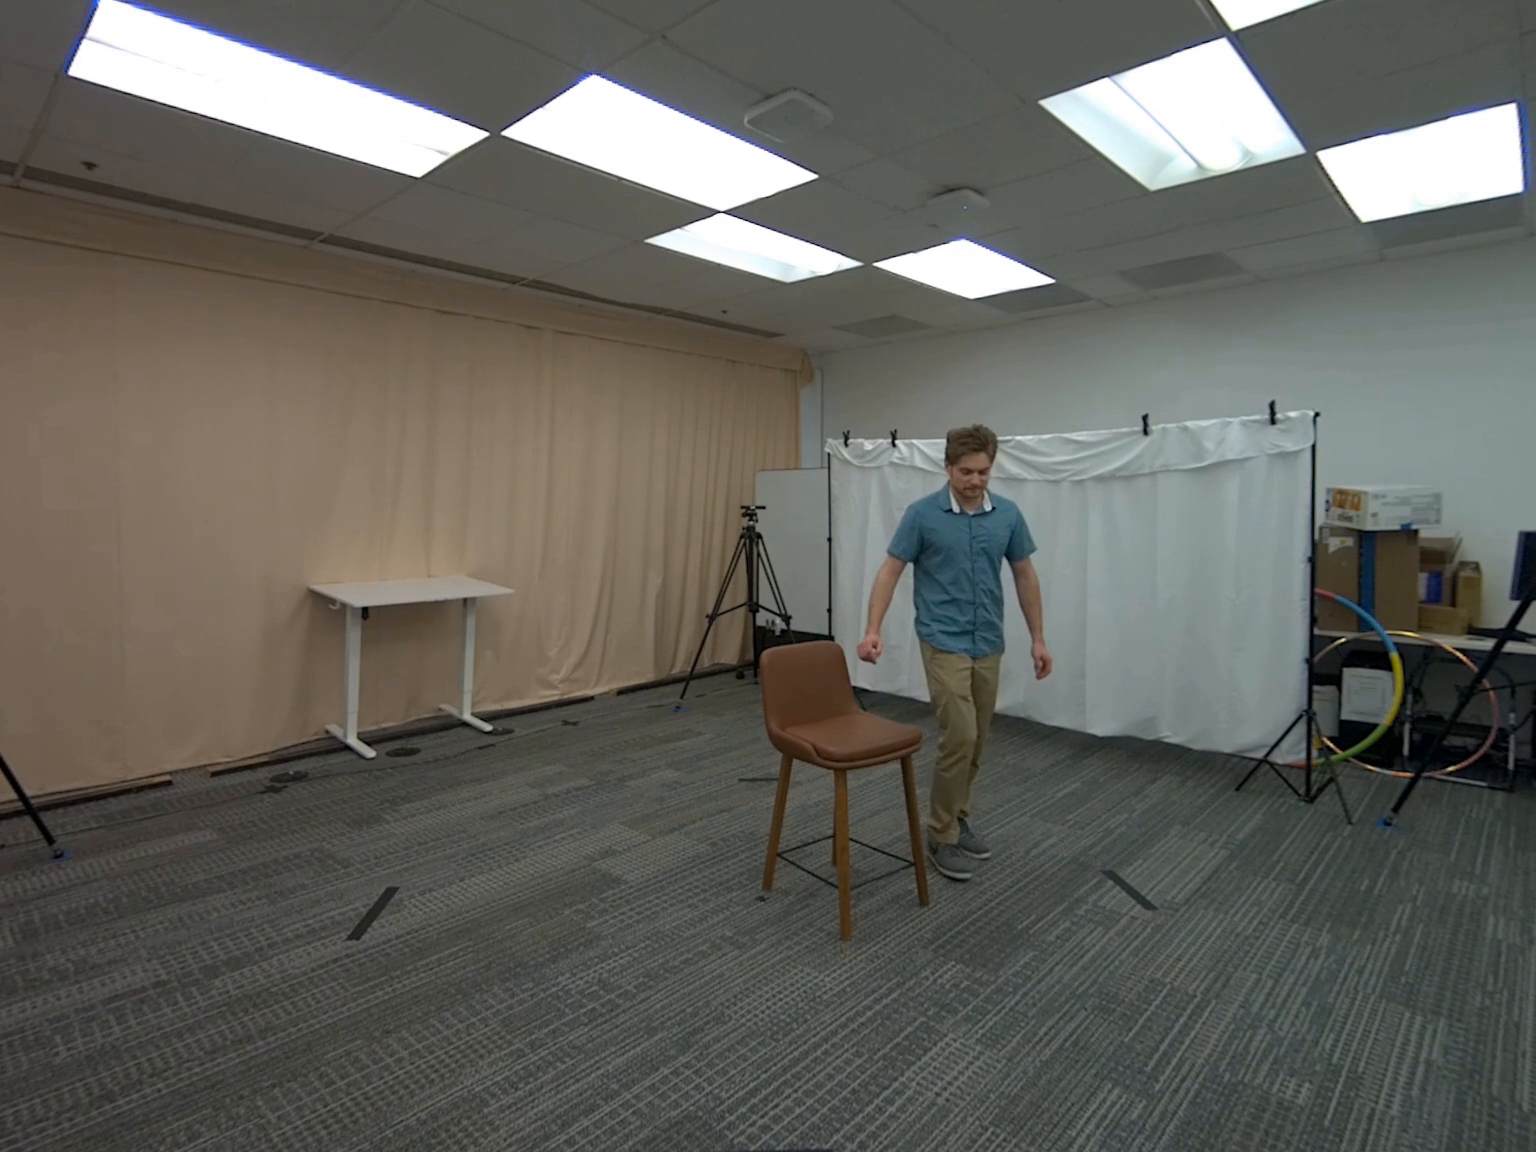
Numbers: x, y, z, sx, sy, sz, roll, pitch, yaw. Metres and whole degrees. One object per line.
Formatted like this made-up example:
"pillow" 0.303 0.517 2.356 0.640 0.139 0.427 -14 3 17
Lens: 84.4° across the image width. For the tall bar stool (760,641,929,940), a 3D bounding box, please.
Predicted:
"tall bar stool" 0.260 0.711 2.965 0.443 0.888 0.482 -3 3 -38
